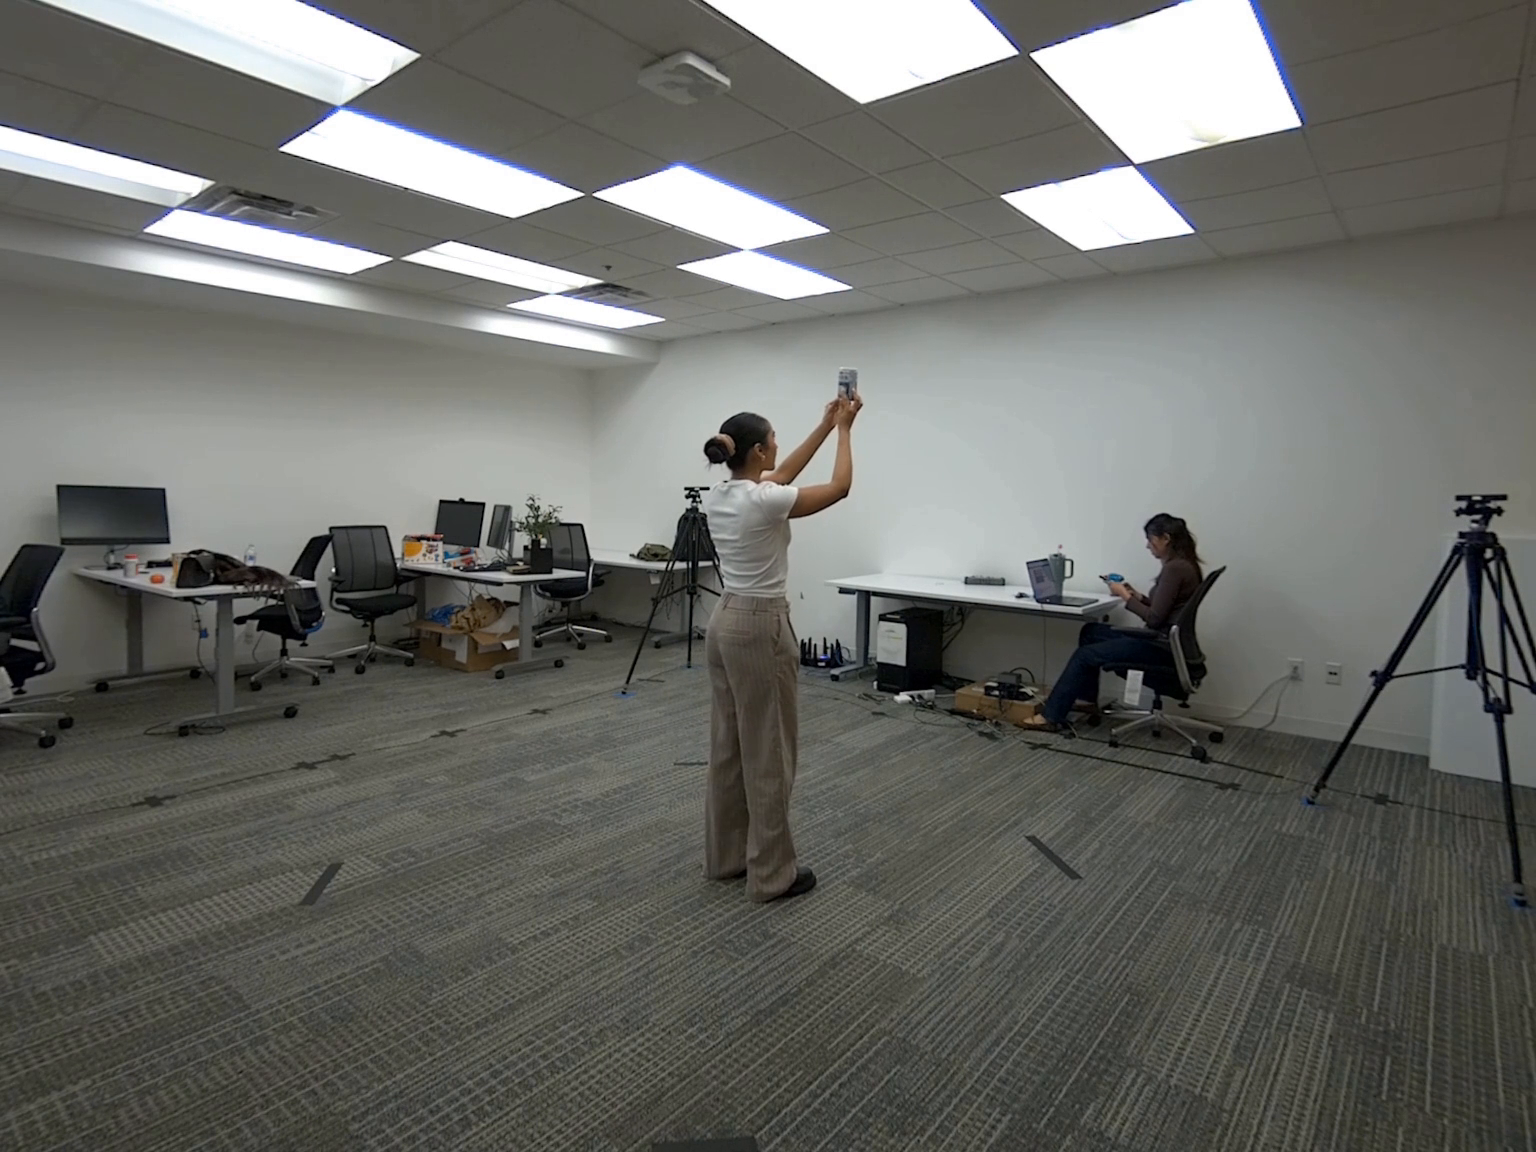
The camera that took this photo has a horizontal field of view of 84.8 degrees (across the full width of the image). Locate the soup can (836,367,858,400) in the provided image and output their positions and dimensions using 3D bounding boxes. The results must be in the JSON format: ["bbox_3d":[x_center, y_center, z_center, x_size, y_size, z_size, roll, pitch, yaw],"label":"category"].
[{"bbox_3d":[0.281,-0.706,3.084,0.067,0.120,0.068,3,11,-2],"label":"soup can"}]
